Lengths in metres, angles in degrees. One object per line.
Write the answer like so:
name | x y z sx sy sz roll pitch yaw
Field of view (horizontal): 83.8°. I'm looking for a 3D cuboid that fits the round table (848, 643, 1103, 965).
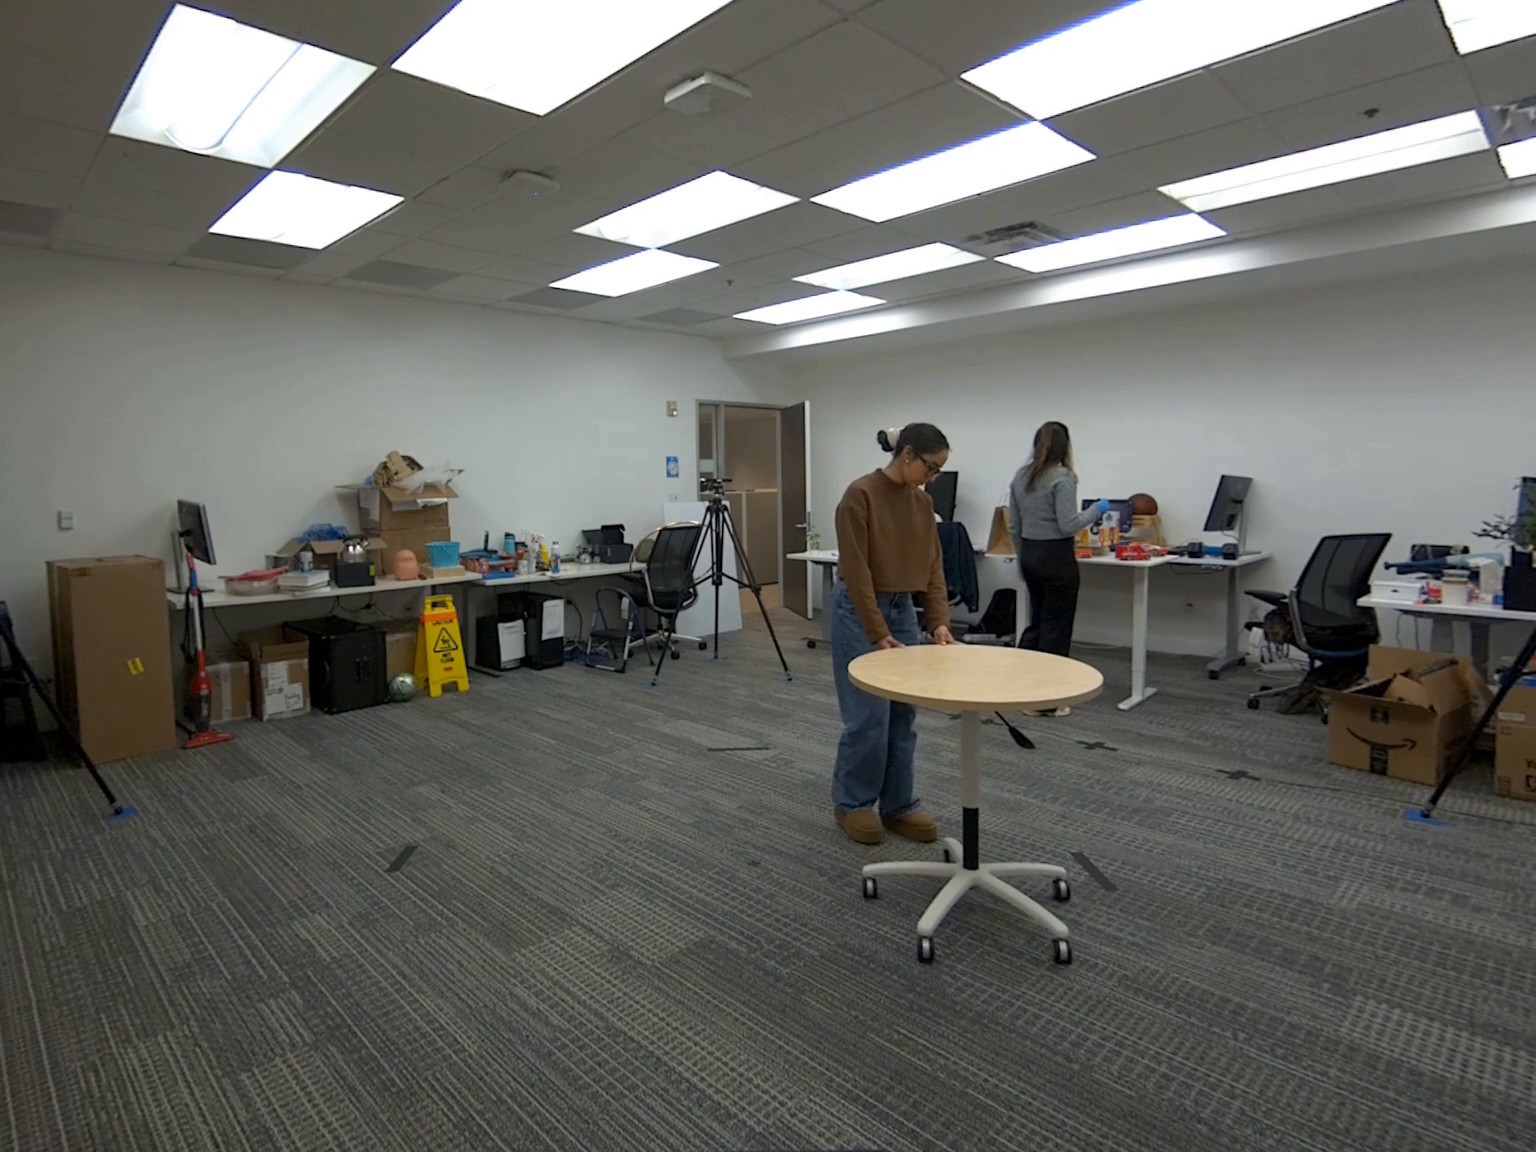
round table | 0.646 0.690 2.718 0.763 0.791 0.768 -1 5 -2
